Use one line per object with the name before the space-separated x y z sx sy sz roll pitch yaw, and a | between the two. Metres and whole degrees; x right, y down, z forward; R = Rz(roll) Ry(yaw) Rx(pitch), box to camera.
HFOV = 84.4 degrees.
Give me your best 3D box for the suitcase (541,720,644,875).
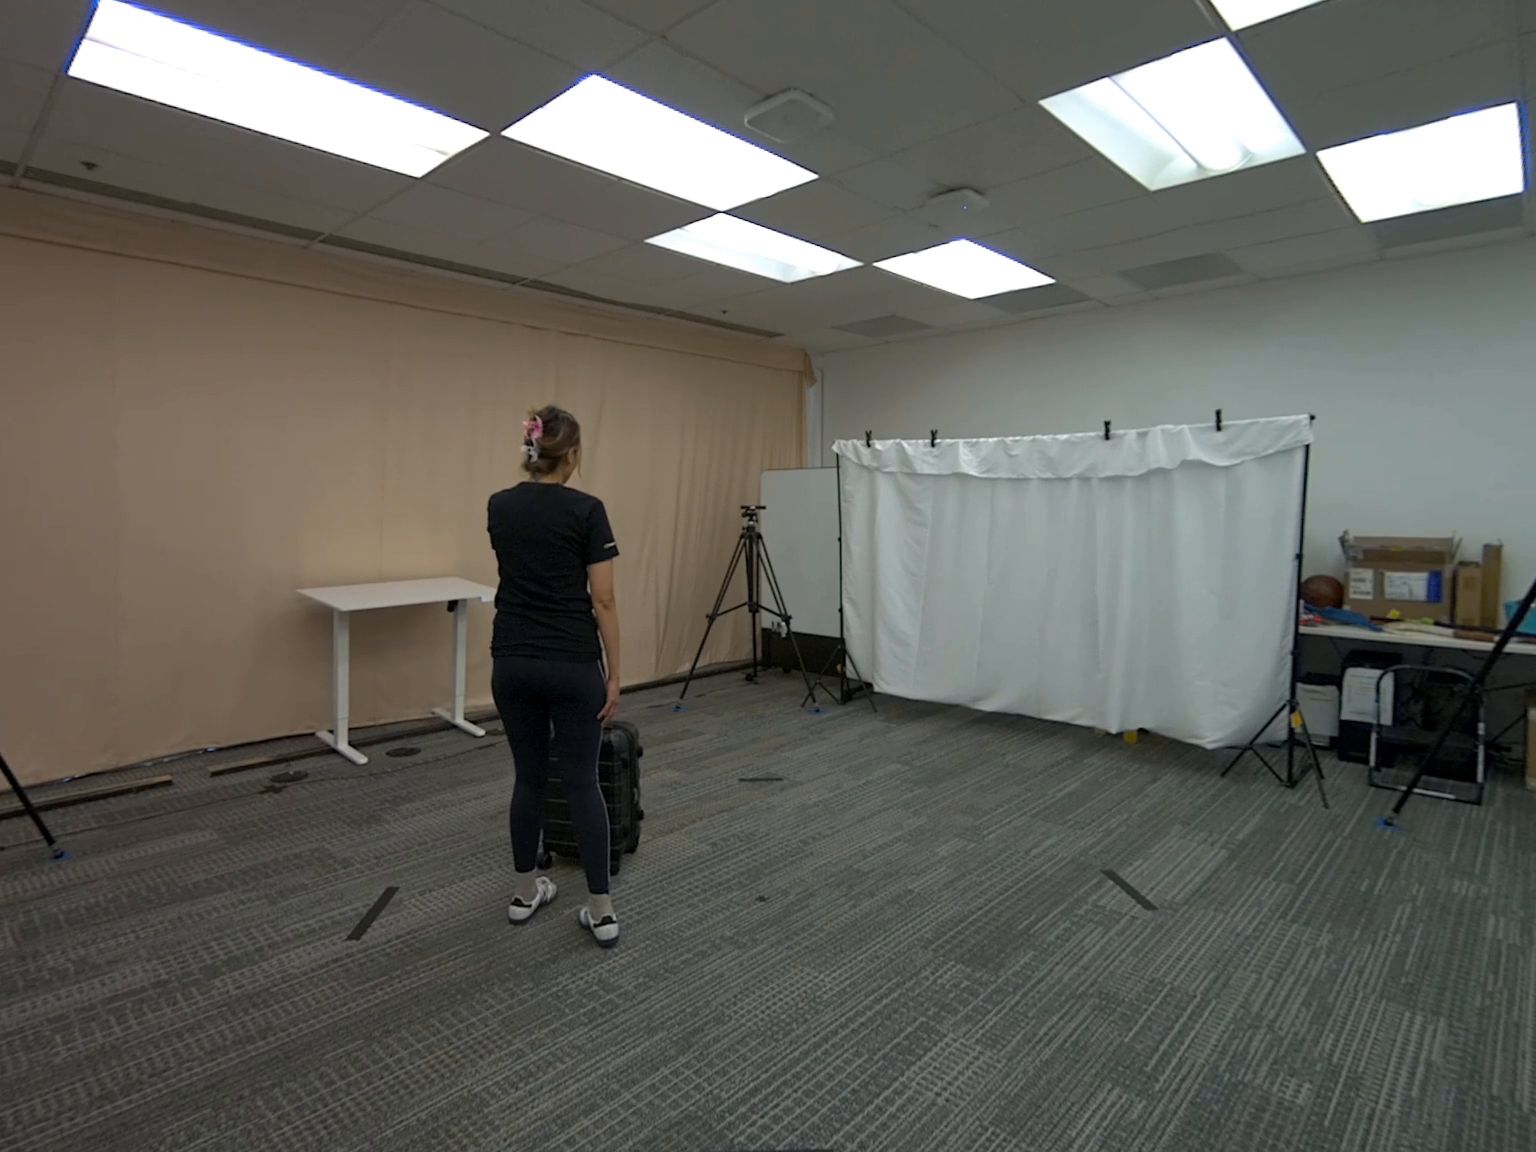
suitcase | -0.703 0.642 3.325 0.391 0.978 0.252 1 0 17
